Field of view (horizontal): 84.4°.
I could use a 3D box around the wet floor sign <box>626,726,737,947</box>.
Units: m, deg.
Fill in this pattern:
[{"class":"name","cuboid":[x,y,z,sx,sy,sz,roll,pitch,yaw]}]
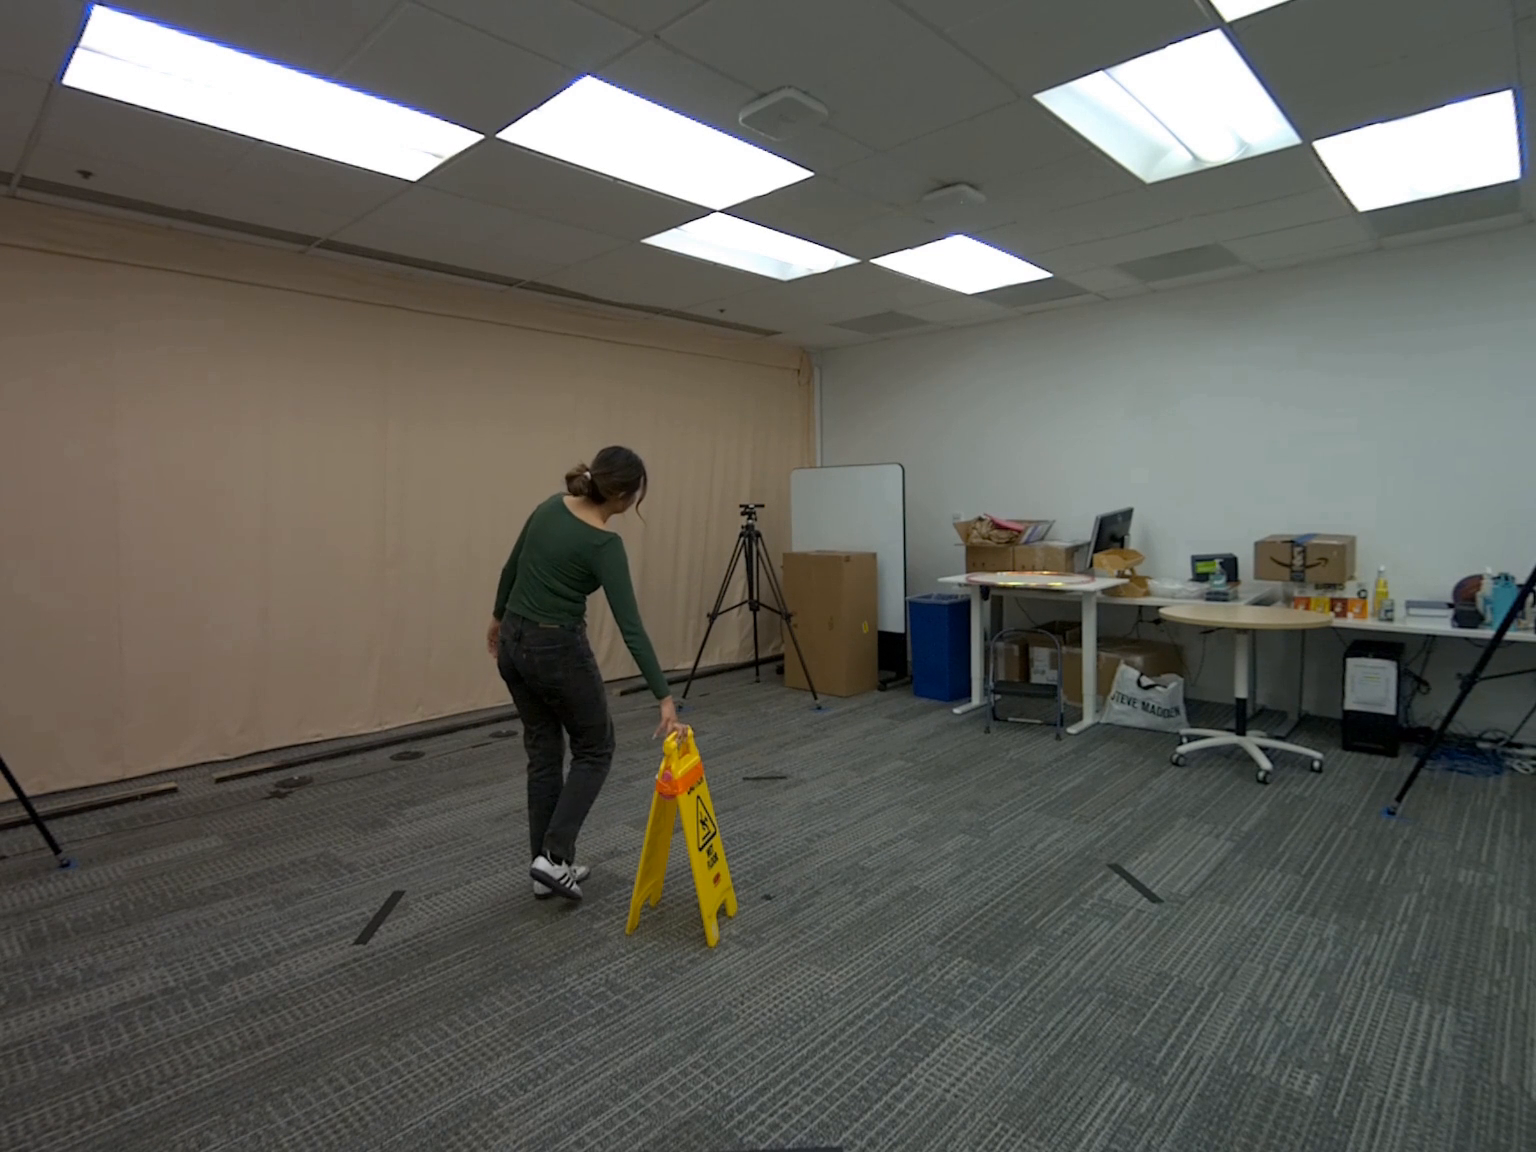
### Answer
[{"class":"wet floor sign","cuboid":[-0.286,0.840,2.803,0.295,0.644,0.278,1,4,17]}]
